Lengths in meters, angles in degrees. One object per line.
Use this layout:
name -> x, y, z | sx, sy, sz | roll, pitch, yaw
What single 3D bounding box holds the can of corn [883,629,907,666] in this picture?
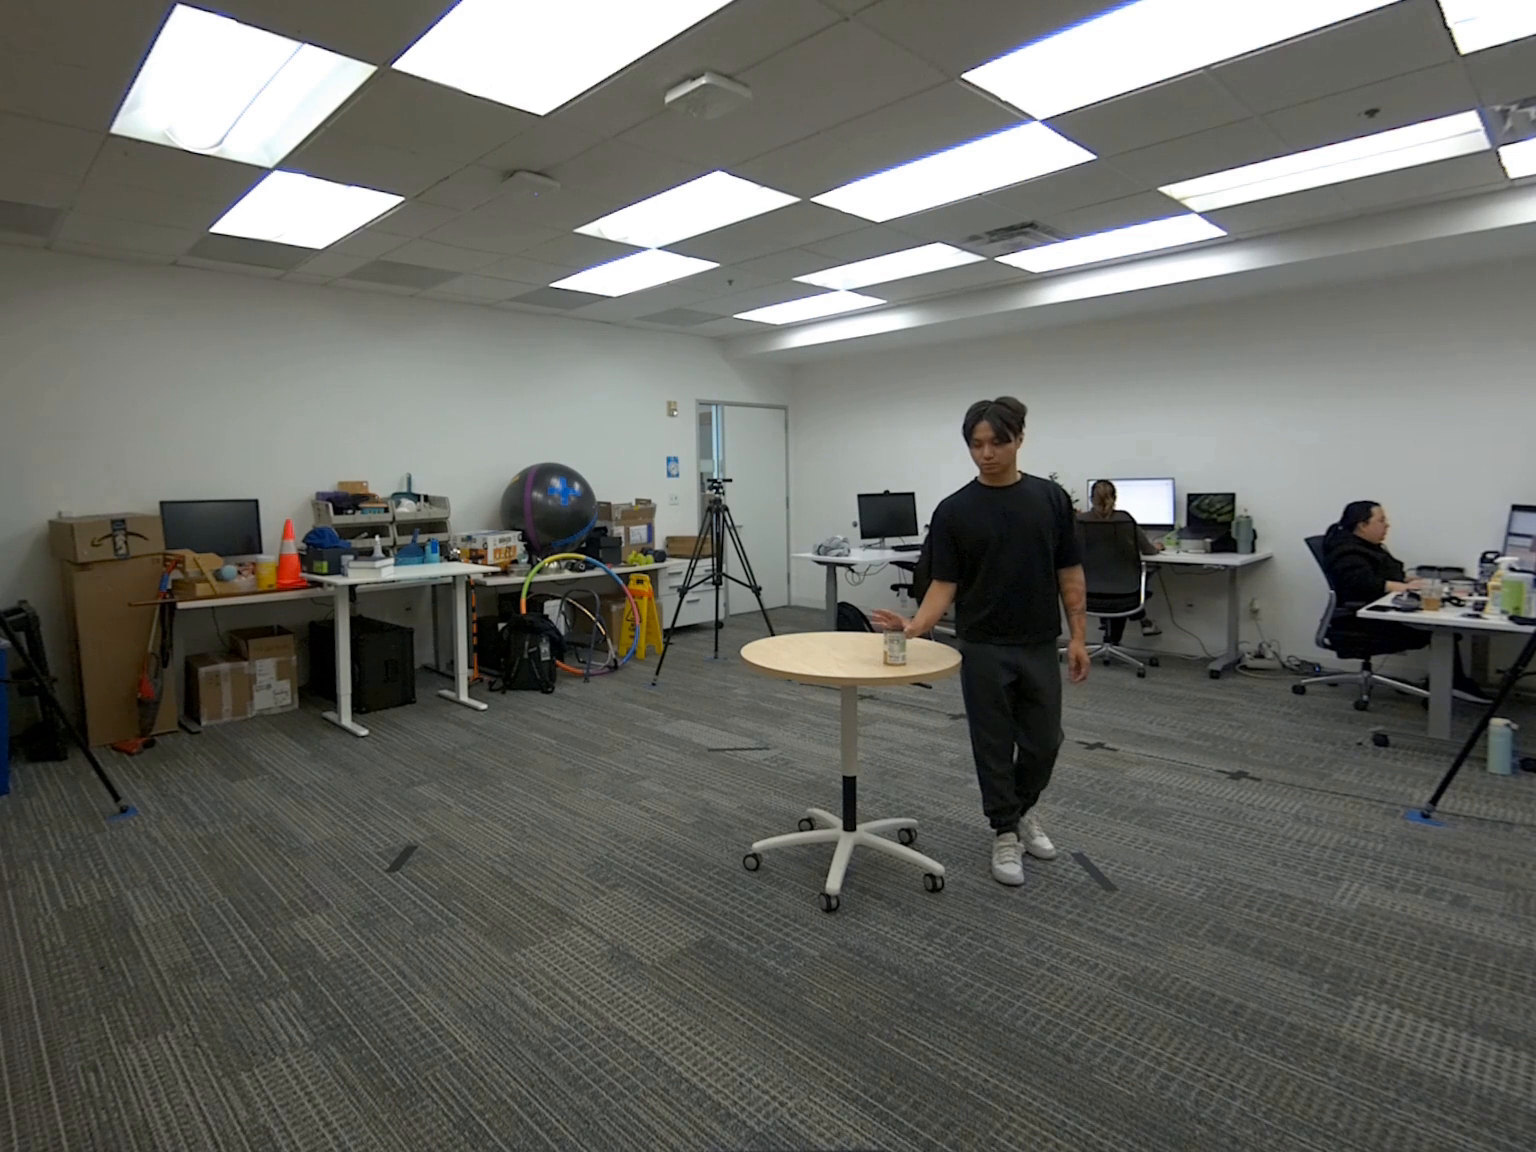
can of corn -> 0.426, 0.235, 2.812 | 0.074, 0.111, 0.074 | 0, 4, -2
